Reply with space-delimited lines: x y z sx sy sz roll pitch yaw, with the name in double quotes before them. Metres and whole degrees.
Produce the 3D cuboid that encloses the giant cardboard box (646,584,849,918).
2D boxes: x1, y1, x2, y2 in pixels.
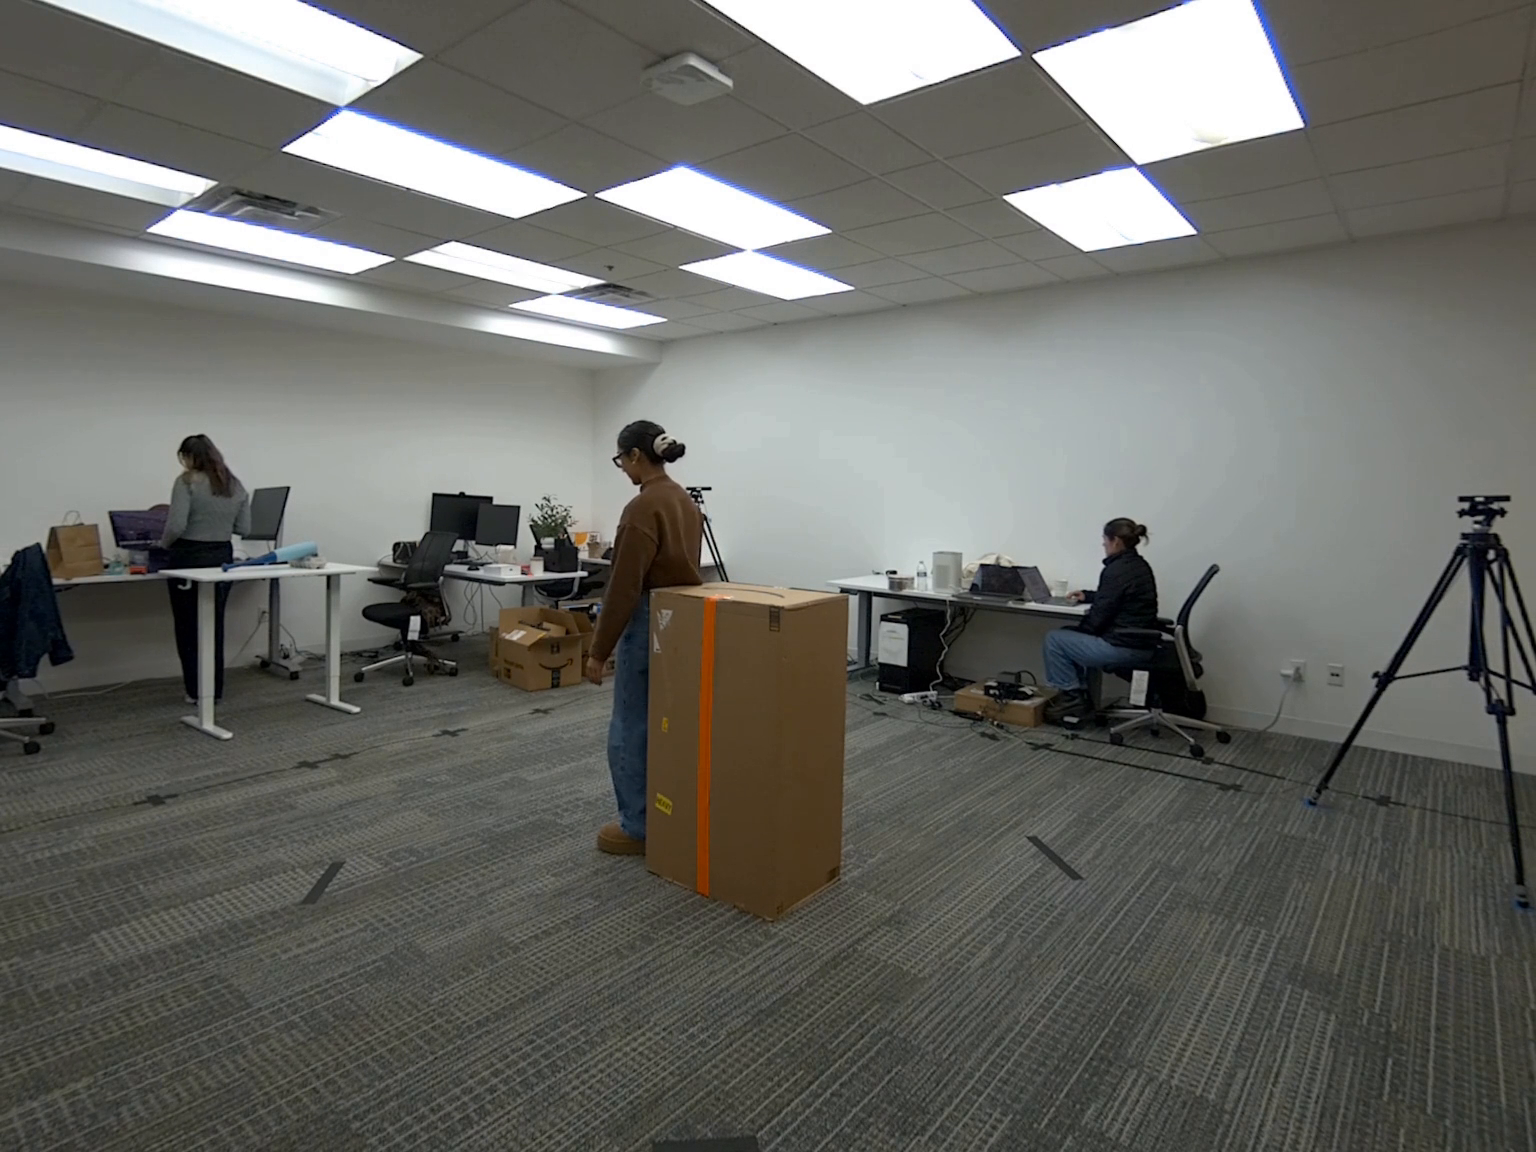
"giant cardboard box" -0.086 0.568 3.030 0.603 1.024 0.434 4 4 37
